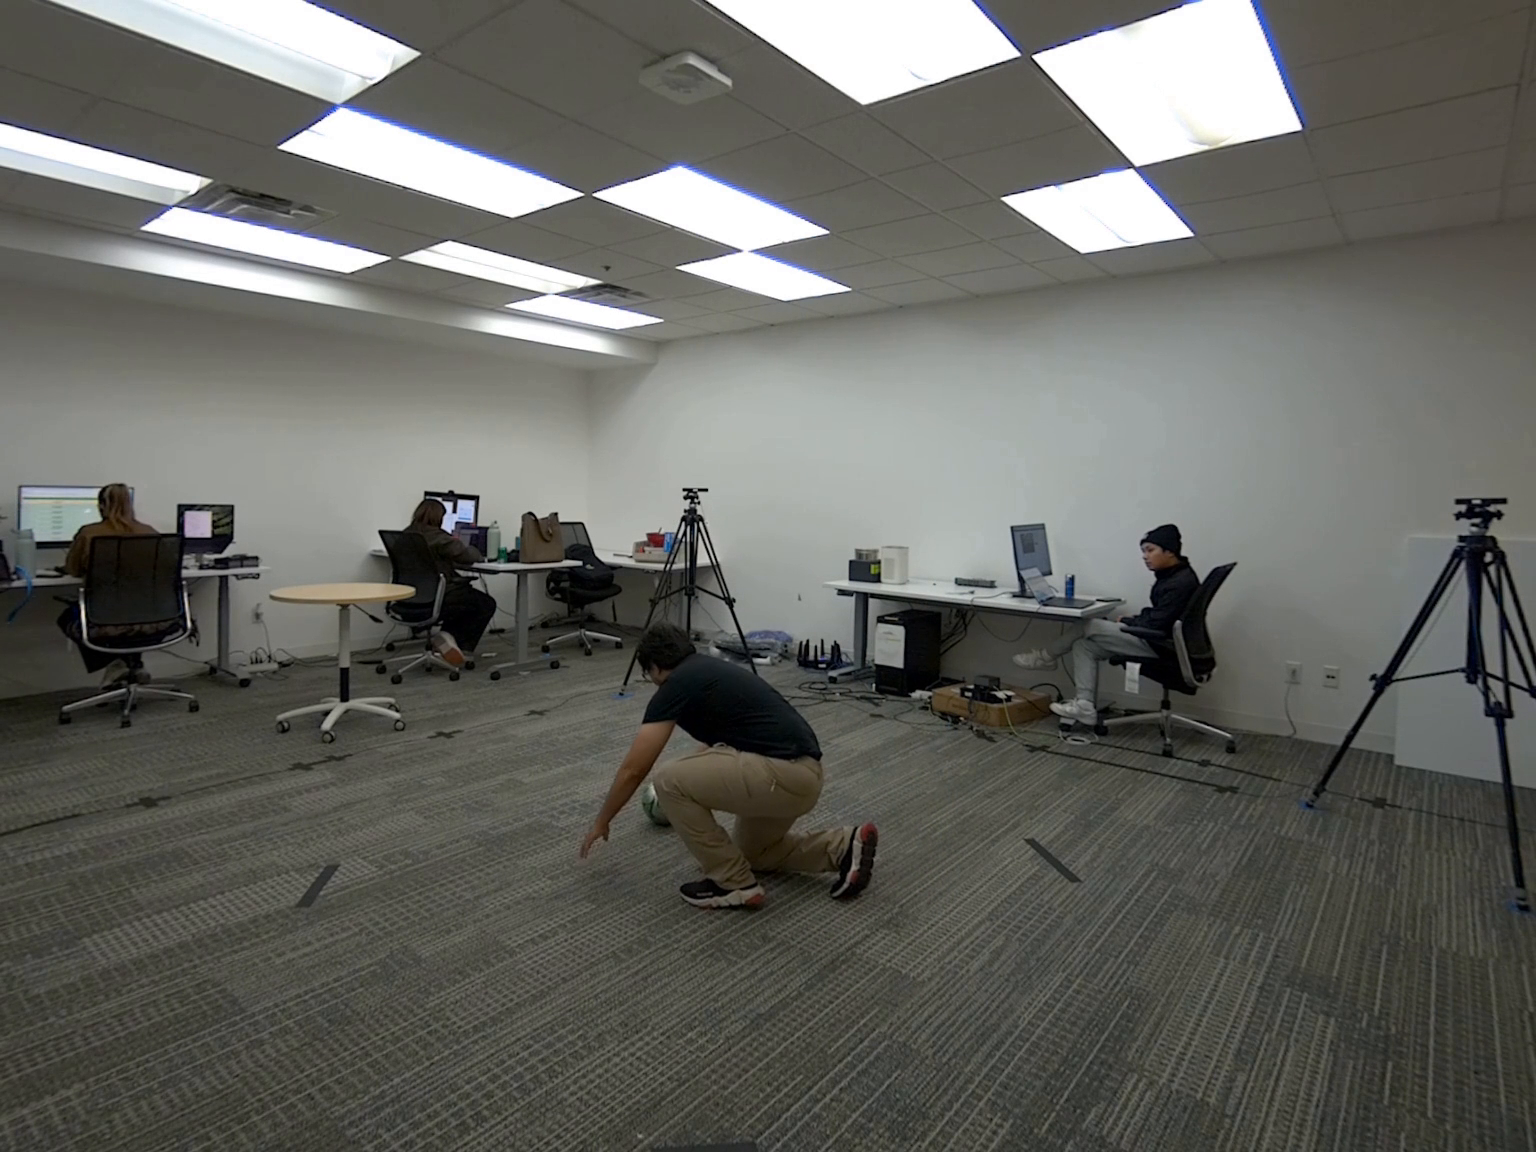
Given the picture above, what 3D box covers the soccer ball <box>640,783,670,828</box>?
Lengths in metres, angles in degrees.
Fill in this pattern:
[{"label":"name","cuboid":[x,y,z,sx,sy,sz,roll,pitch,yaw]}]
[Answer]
[{"label":"soccer ball","cuboid":[-0.445,0.928,3.538,0.187,0.187,0.188,1,4,-2]}]
